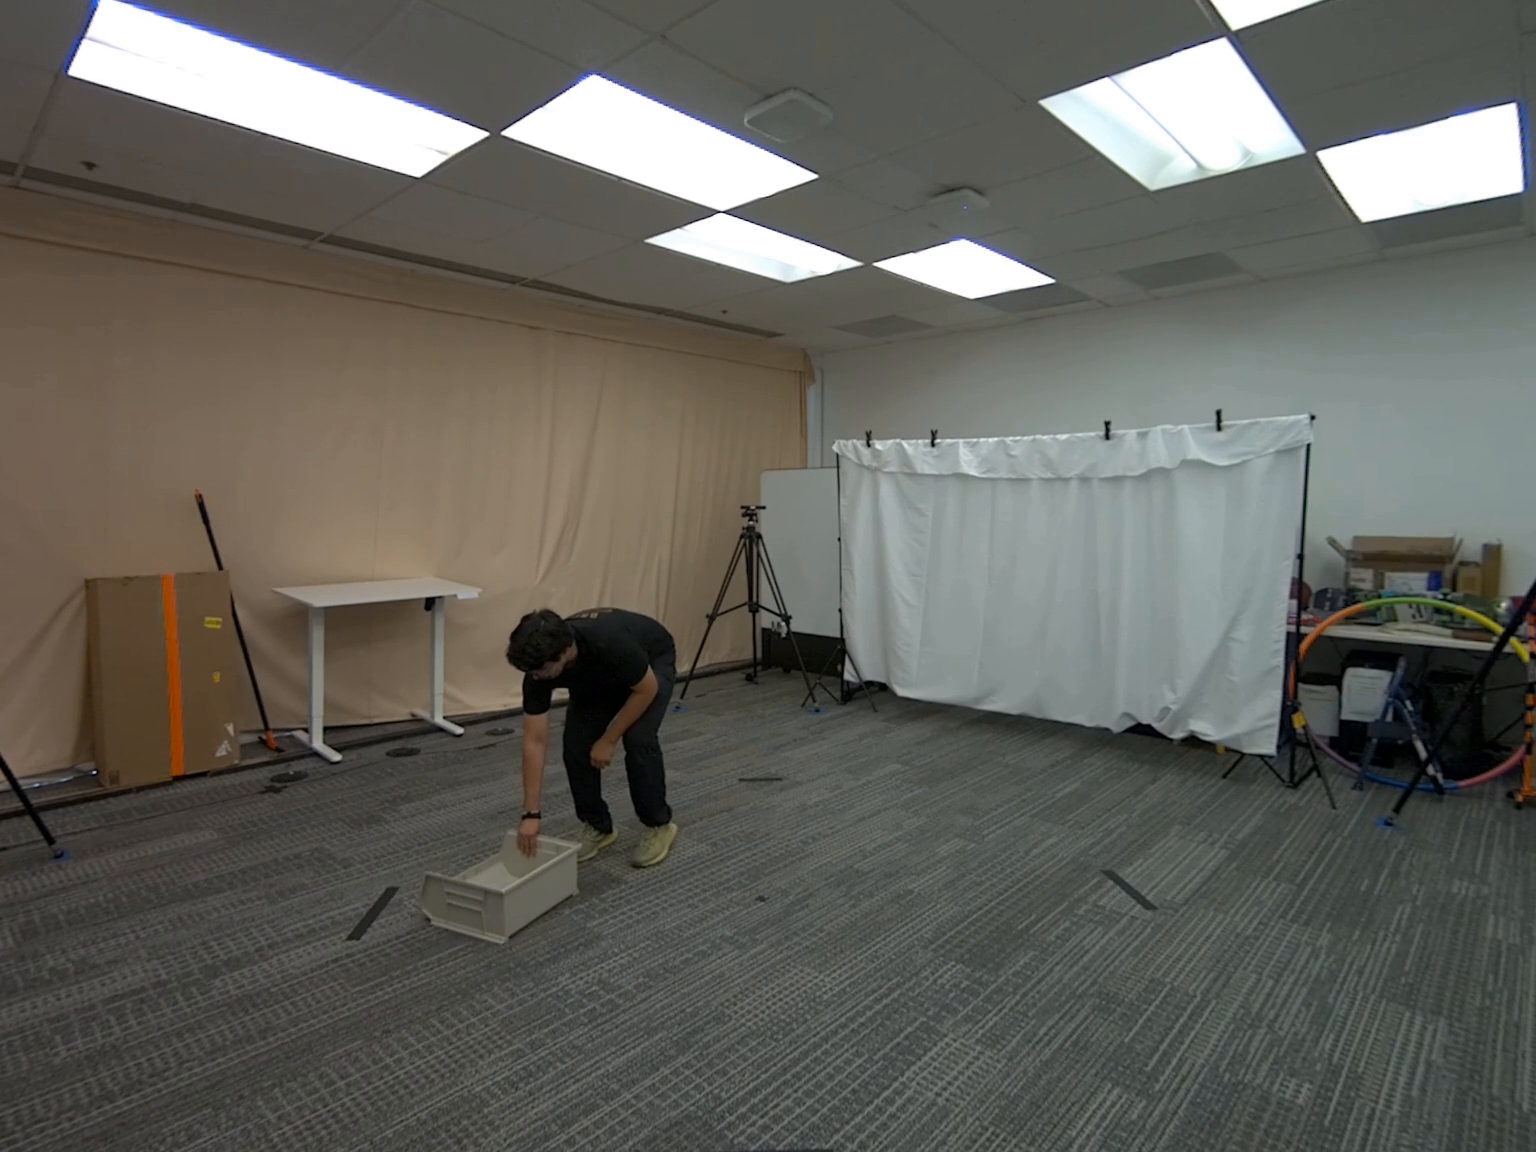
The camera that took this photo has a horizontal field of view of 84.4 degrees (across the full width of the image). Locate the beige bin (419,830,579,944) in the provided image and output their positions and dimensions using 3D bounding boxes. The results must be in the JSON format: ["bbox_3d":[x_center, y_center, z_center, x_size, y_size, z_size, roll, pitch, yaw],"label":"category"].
[{"bbox_3d":[-0.924,1.062,2.937,0.387,0.188,0.412,3,4,26],"label":"beige bin"}]
